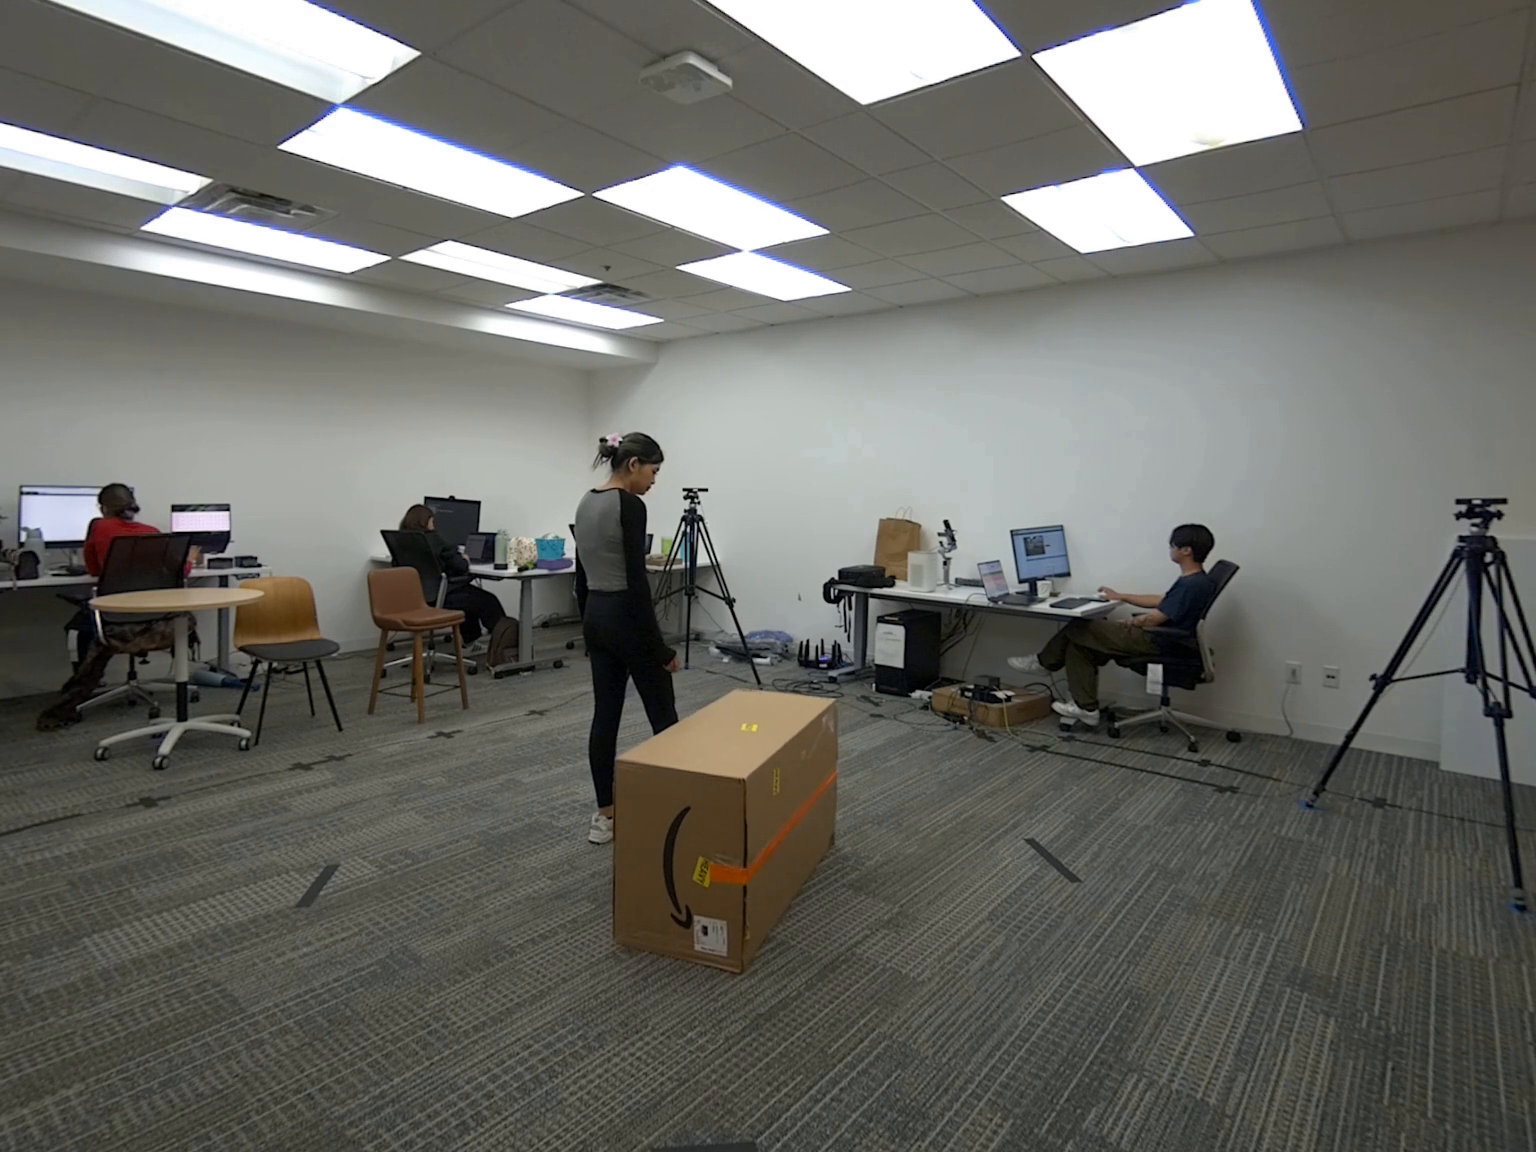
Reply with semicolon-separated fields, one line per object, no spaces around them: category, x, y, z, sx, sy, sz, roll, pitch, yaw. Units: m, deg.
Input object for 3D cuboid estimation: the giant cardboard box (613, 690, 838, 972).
giant cardboard box;-0.104;0.797;2.955;0.436;0.576;1.006;1;5;21
